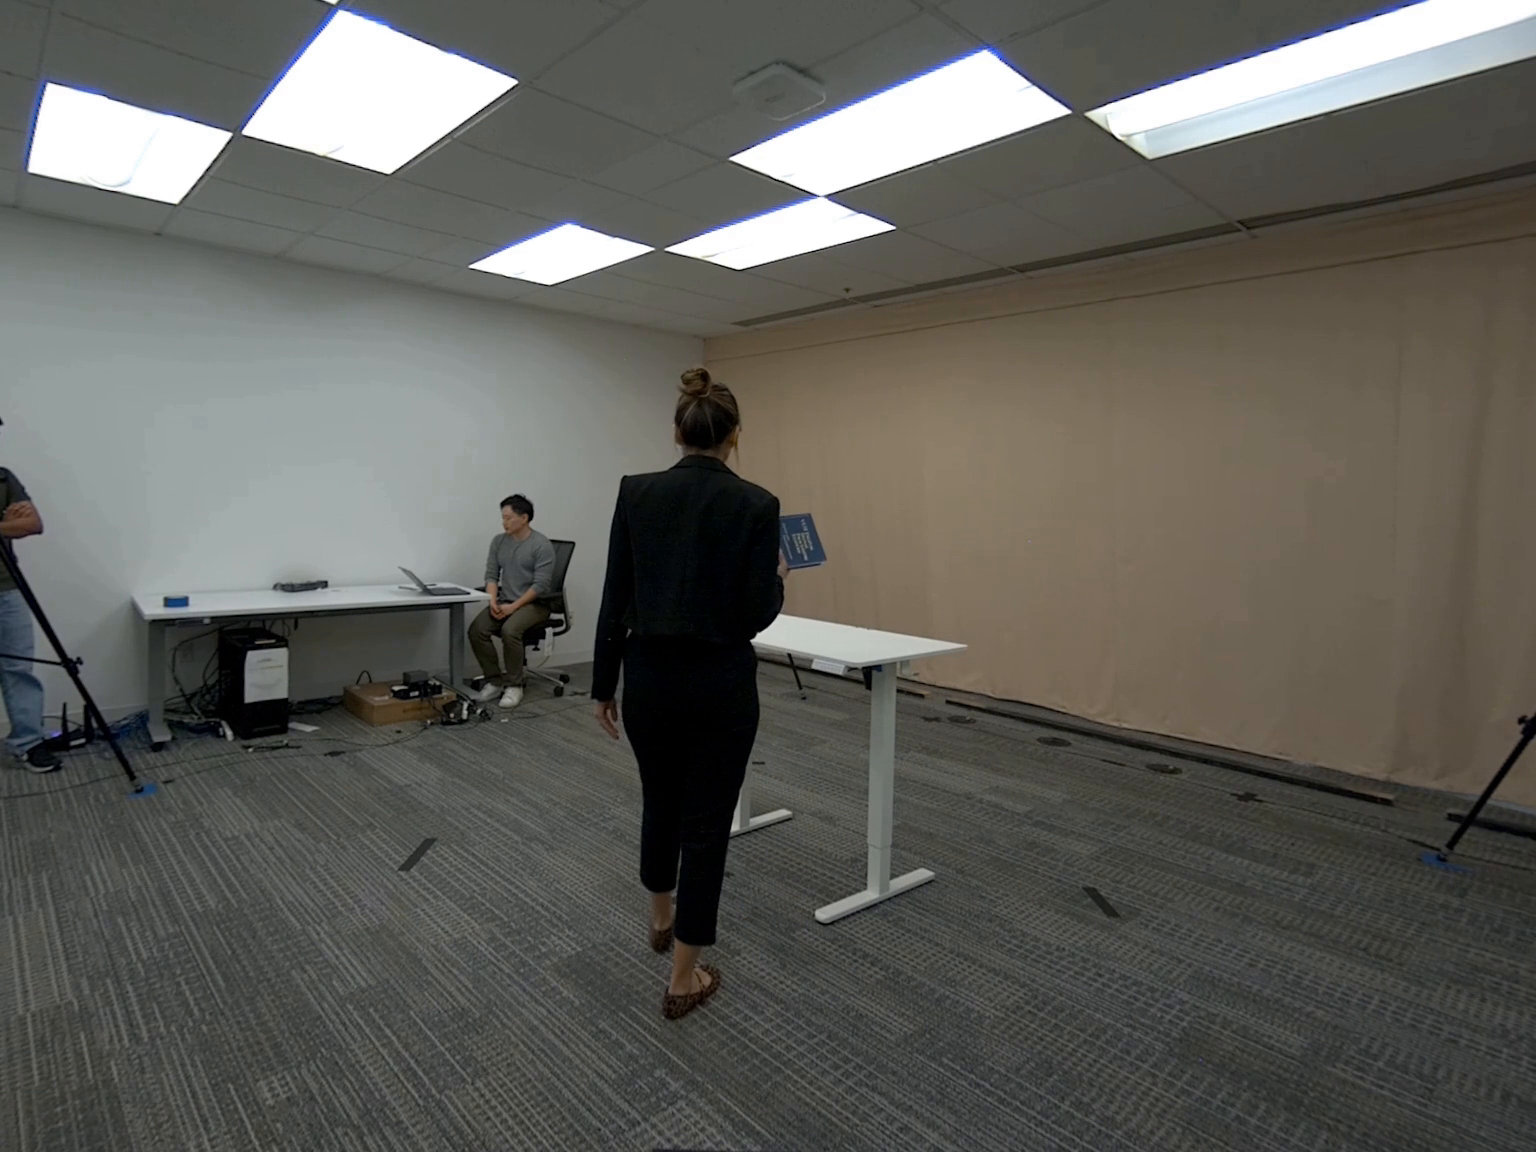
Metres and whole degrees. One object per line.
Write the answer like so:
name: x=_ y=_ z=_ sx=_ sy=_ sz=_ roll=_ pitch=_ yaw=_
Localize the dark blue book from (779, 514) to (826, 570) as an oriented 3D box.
dark blue book: x=0.037 y=-0.098 z=2.478 sx=0.241 sy=0.166 sz=0.045 roll=-8 pitch=-22 yaw=-26
